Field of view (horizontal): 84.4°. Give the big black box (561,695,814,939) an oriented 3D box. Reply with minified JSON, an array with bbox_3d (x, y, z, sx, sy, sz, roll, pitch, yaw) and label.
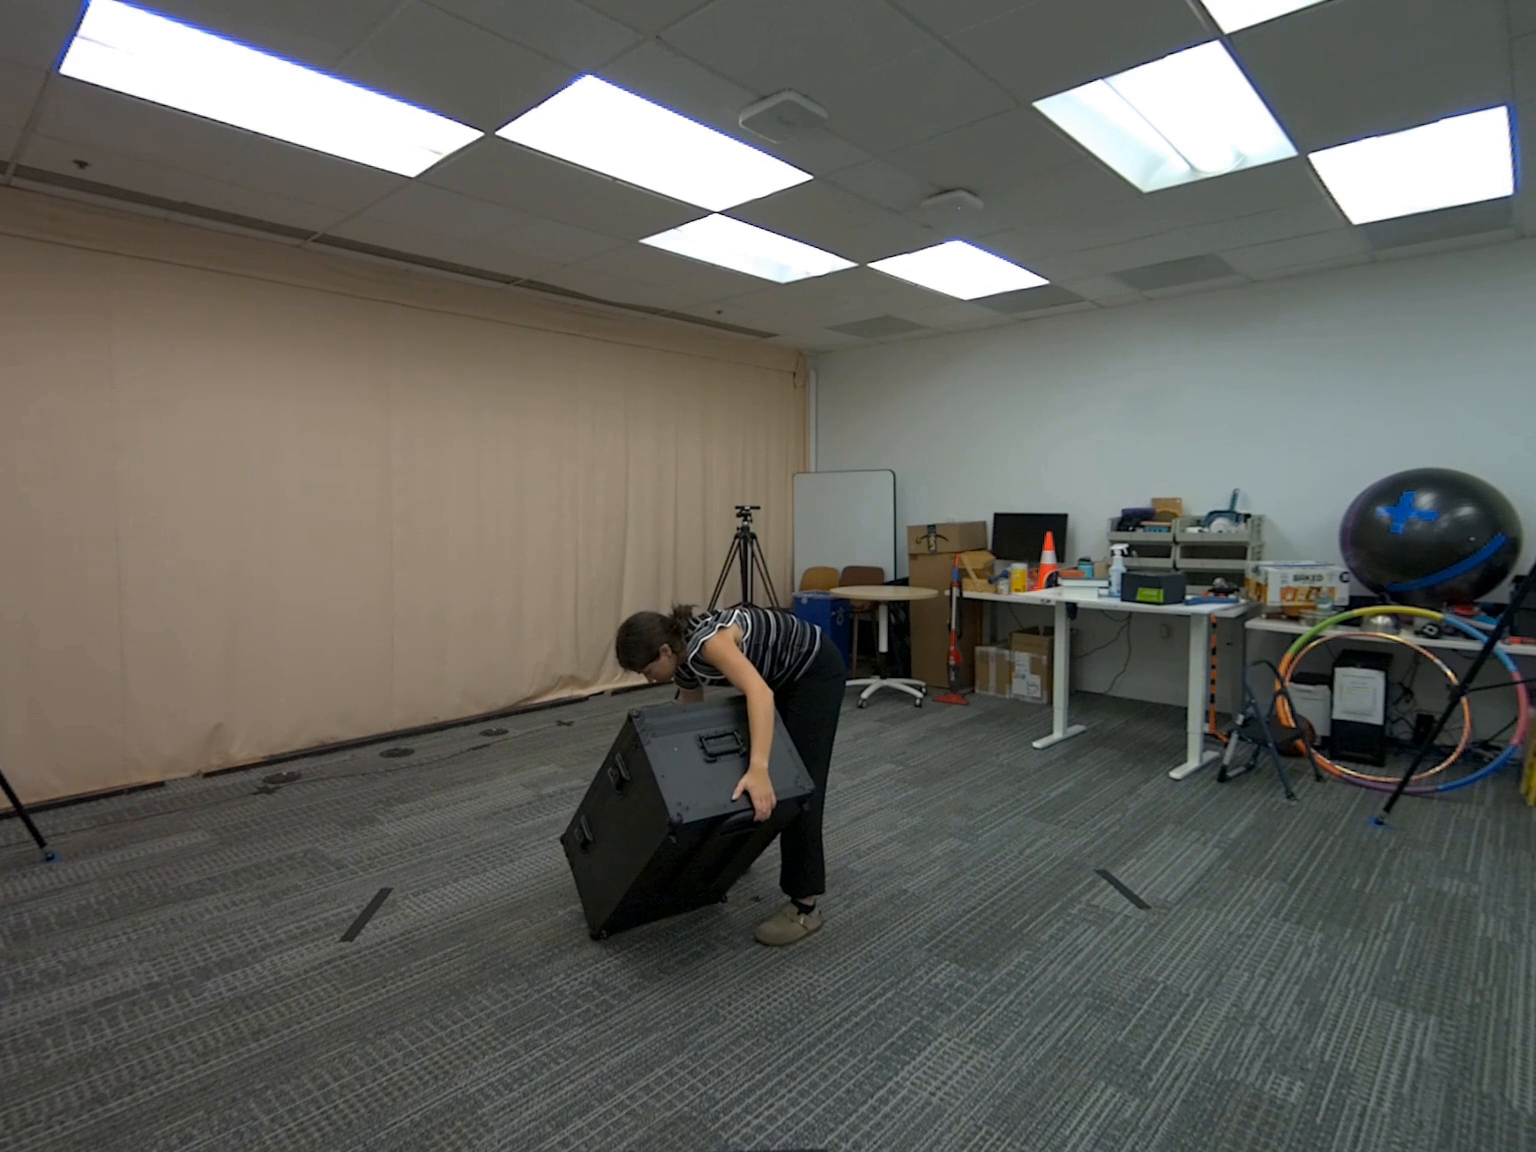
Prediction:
[{"bbox_3d":[-0.298,0.785,2.662,0.506,0.408,0.862,-1,-40,-34],"label":"big black box"}]
